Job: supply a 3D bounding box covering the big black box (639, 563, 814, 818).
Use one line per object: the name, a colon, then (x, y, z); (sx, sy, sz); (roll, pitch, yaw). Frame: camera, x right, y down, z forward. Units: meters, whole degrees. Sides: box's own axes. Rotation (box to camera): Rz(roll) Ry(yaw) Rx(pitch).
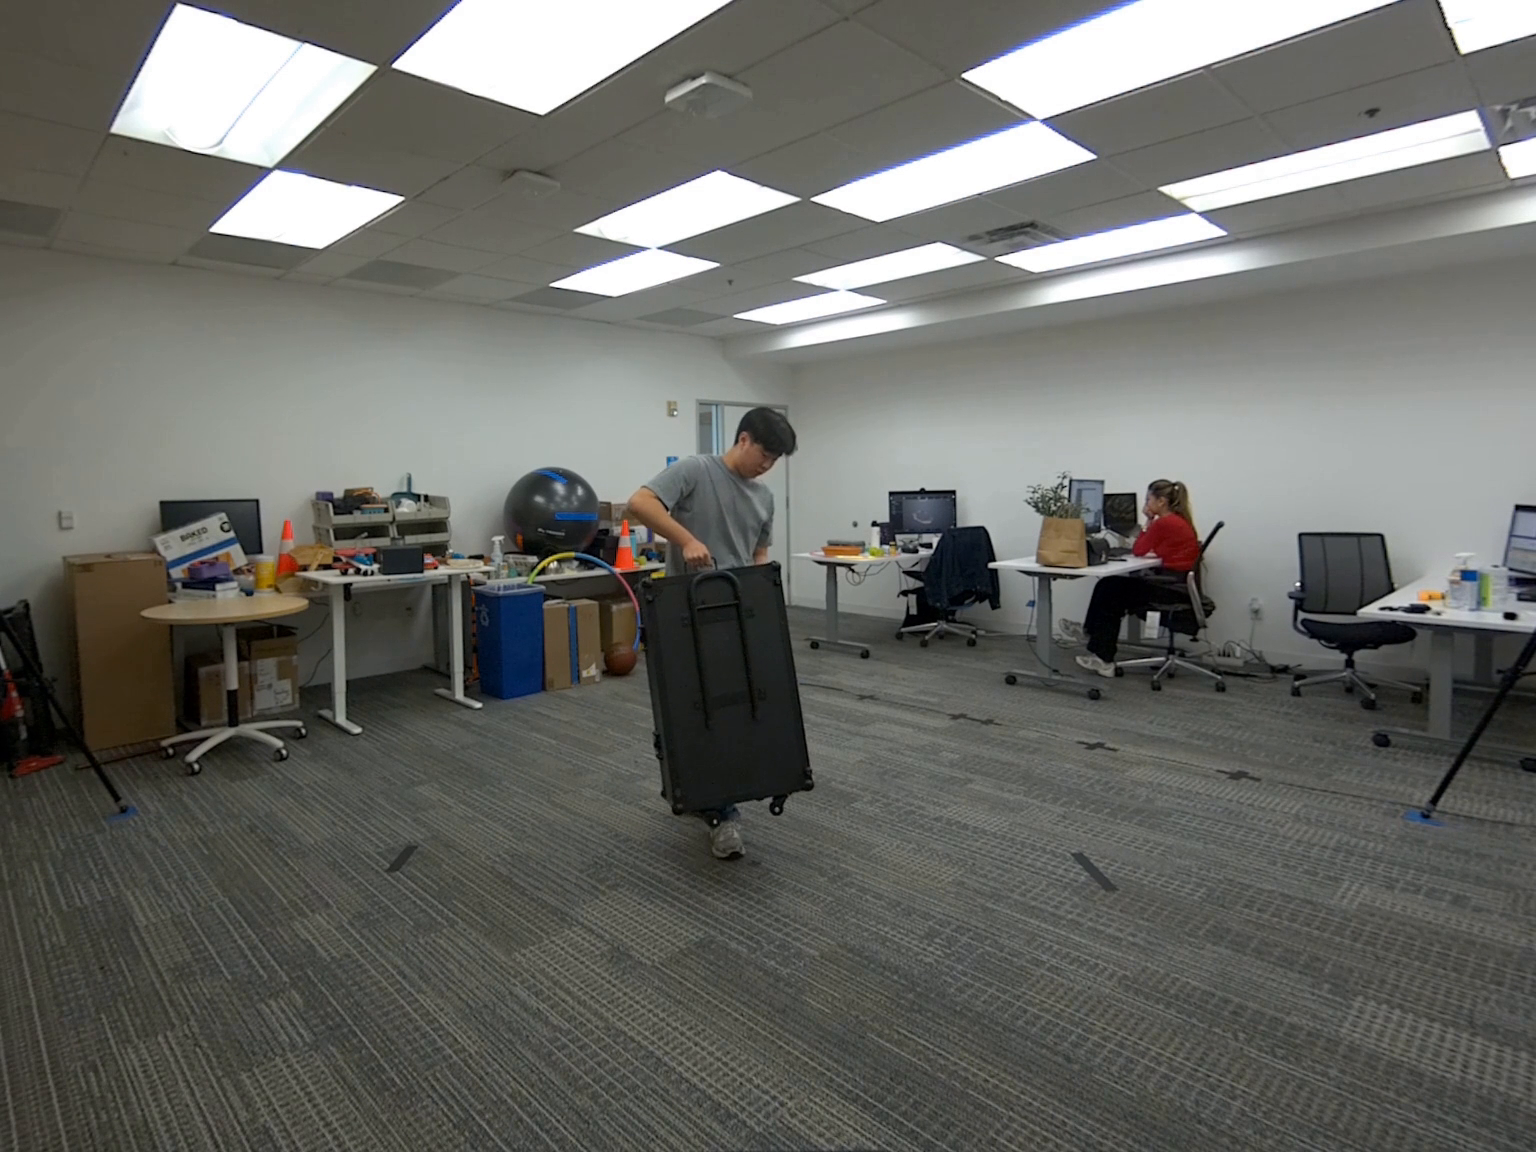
big black box: (-0.183, 0.355, 3.052); (0.516, 0.866, 0.398); (-7, -5, -12)
